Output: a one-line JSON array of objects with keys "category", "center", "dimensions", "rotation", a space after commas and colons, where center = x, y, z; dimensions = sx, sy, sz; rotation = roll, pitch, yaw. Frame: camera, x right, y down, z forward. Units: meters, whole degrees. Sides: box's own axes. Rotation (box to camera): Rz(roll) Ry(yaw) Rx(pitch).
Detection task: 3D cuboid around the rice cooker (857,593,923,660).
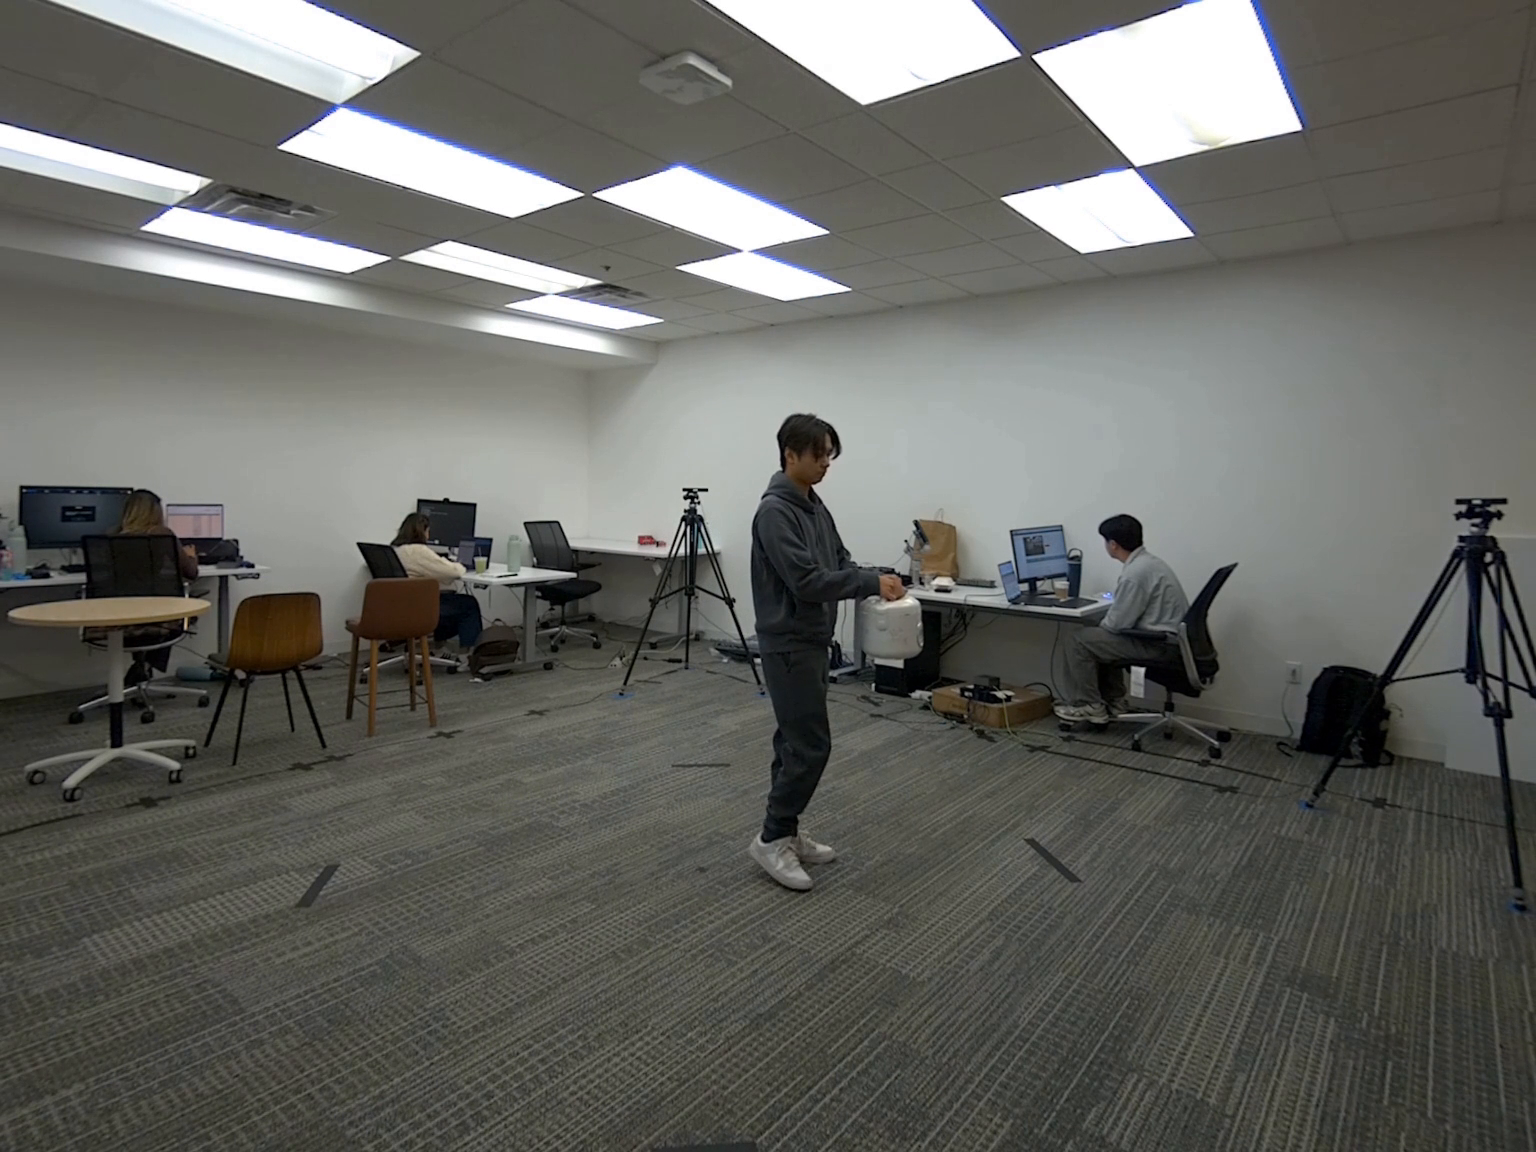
[{"category": "rice cooker", "center": [0.430, 0.167, 3.029], "dimensions": [0.223, 0.232, 0.216], "rotation": [-2, 5, 28]}]
